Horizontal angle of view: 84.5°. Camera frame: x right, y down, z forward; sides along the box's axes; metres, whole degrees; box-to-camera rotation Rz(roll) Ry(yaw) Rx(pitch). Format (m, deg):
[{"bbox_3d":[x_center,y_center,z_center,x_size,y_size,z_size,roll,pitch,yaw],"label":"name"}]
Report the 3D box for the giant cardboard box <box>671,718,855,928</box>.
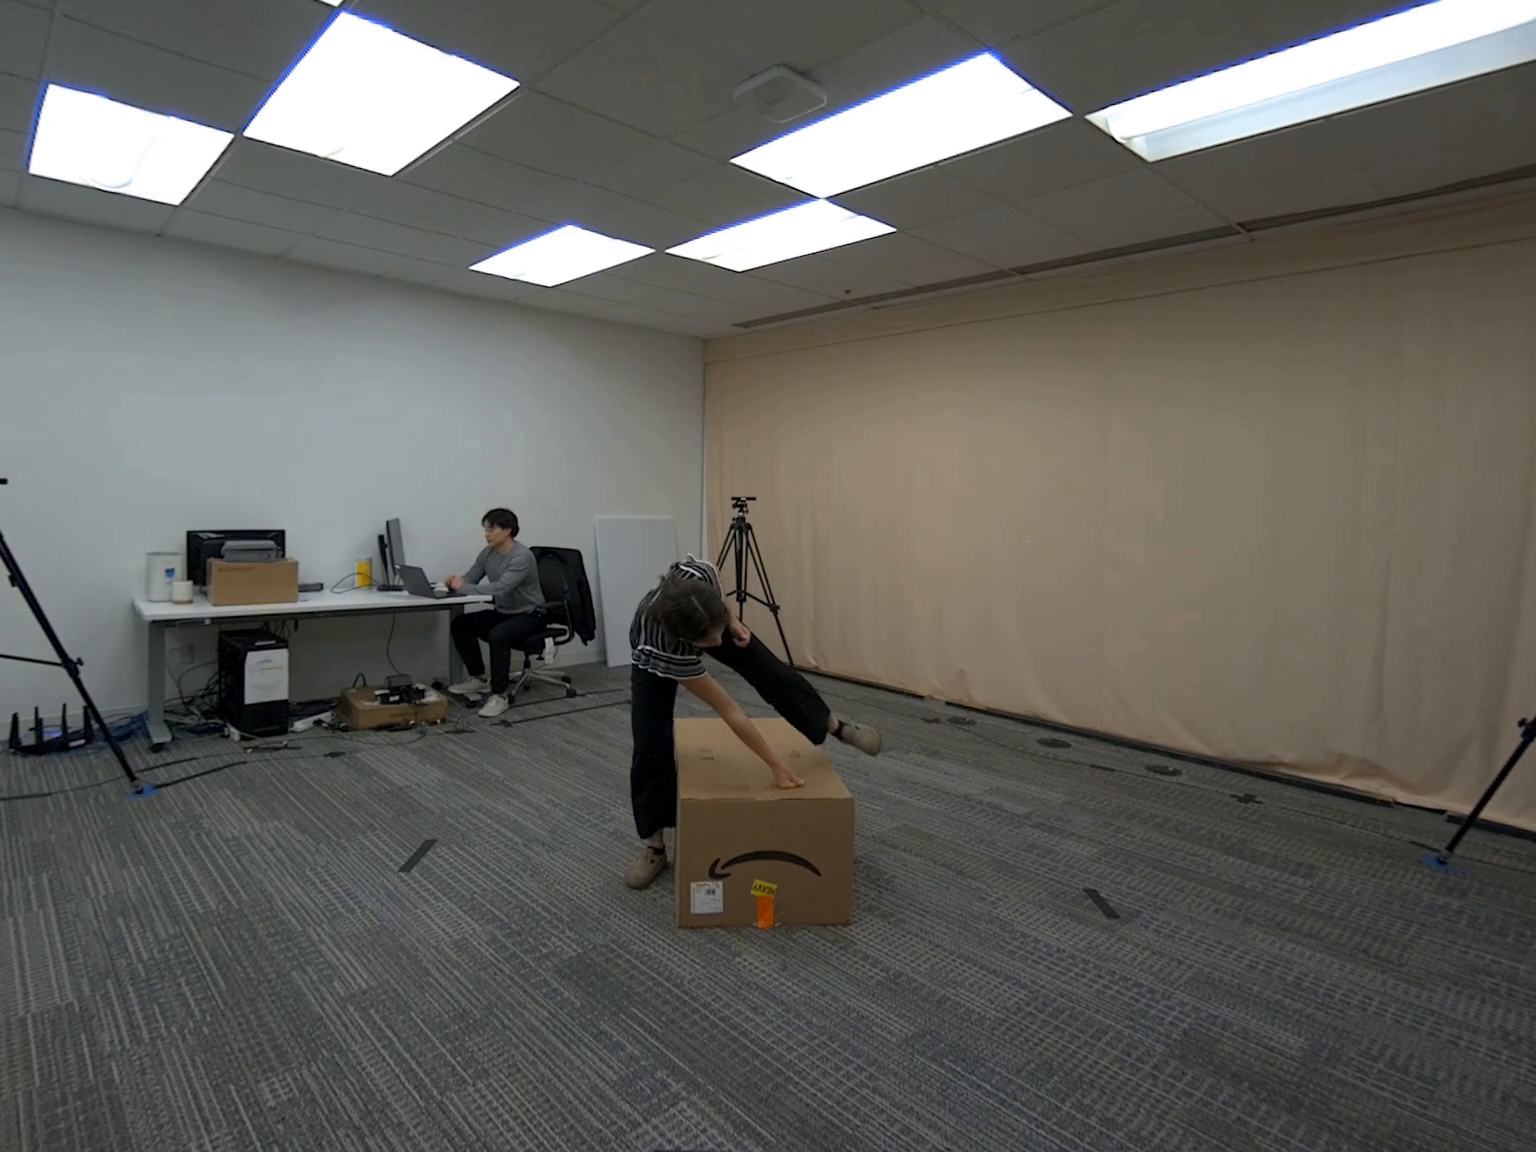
[{"bbox_3d":[-0.075,0.889,3.233,0.575,0.425,1.034,1,5,-7],"label":"giant cardboard box"}]
